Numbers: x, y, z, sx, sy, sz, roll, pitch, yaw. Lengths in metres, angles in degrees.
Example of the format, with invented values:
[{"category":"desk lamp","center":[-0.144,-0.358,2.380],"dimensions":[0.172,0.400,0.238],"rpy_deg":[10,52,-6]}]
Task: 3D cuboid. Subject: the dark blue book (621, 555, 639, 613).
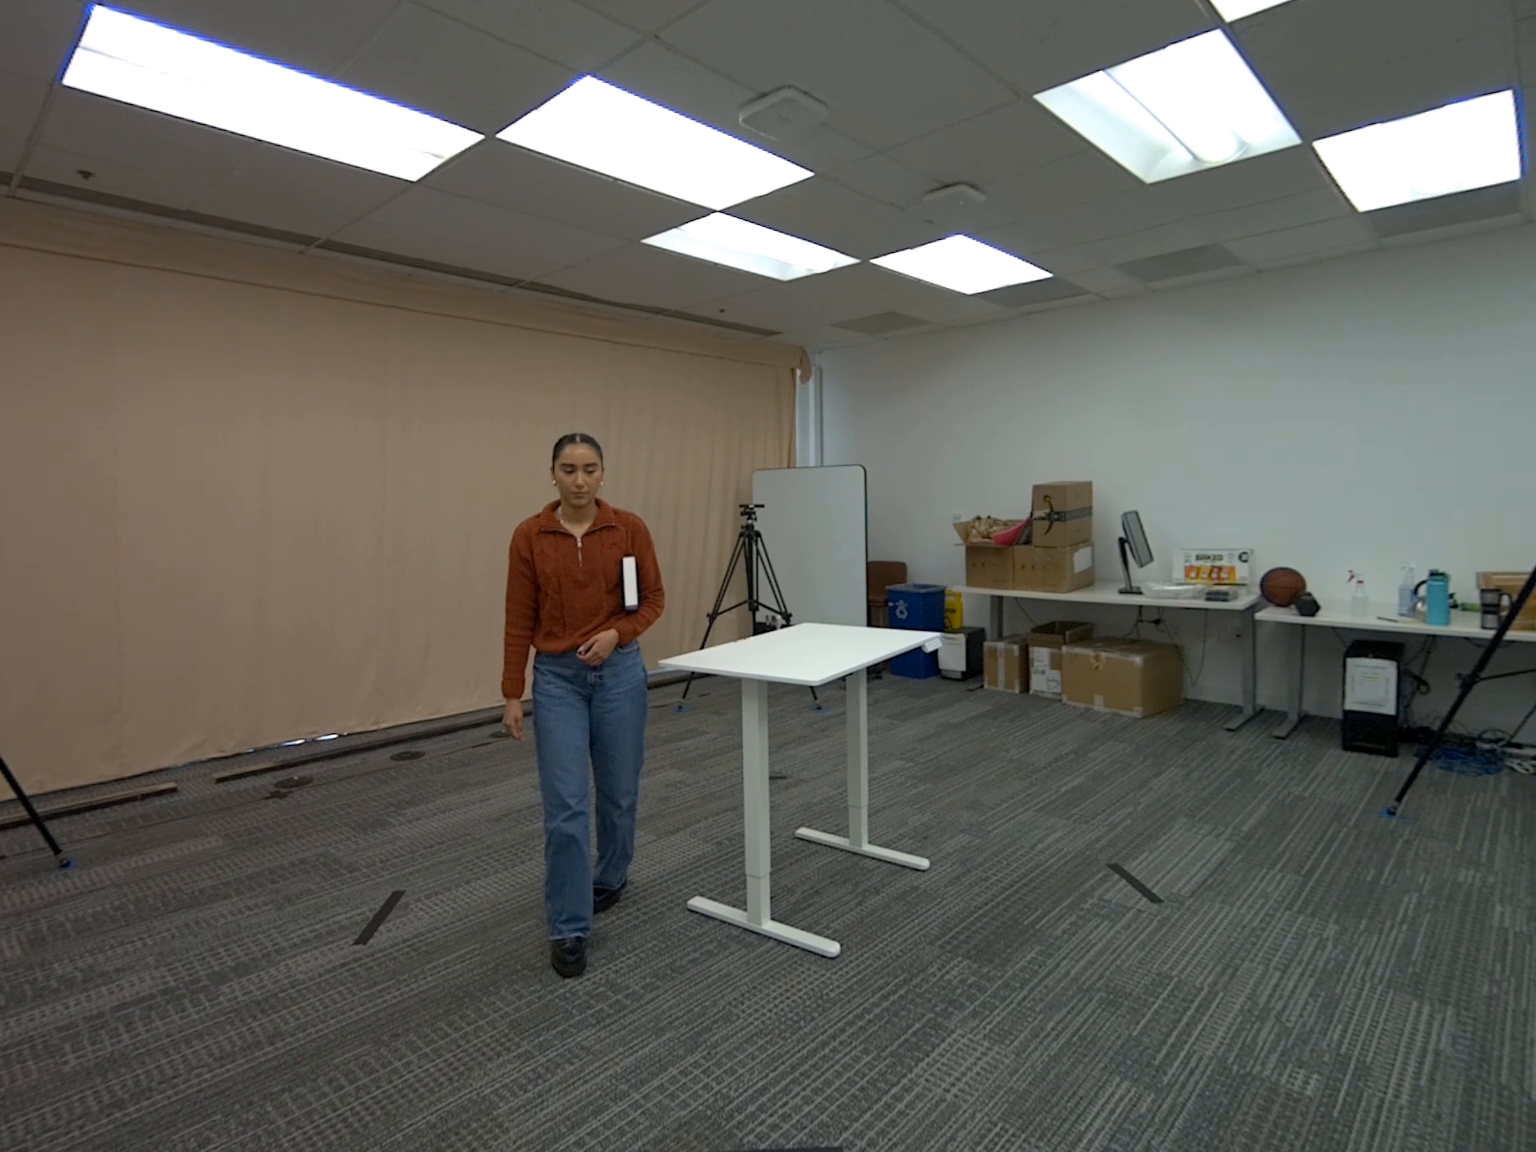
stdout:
[{"category":"dark blue book","center":[-0.449,0.036,2.762],"dimensions":[0.045,0.165,0.244],"rpy_deg":[-5,-10,-7]}]
